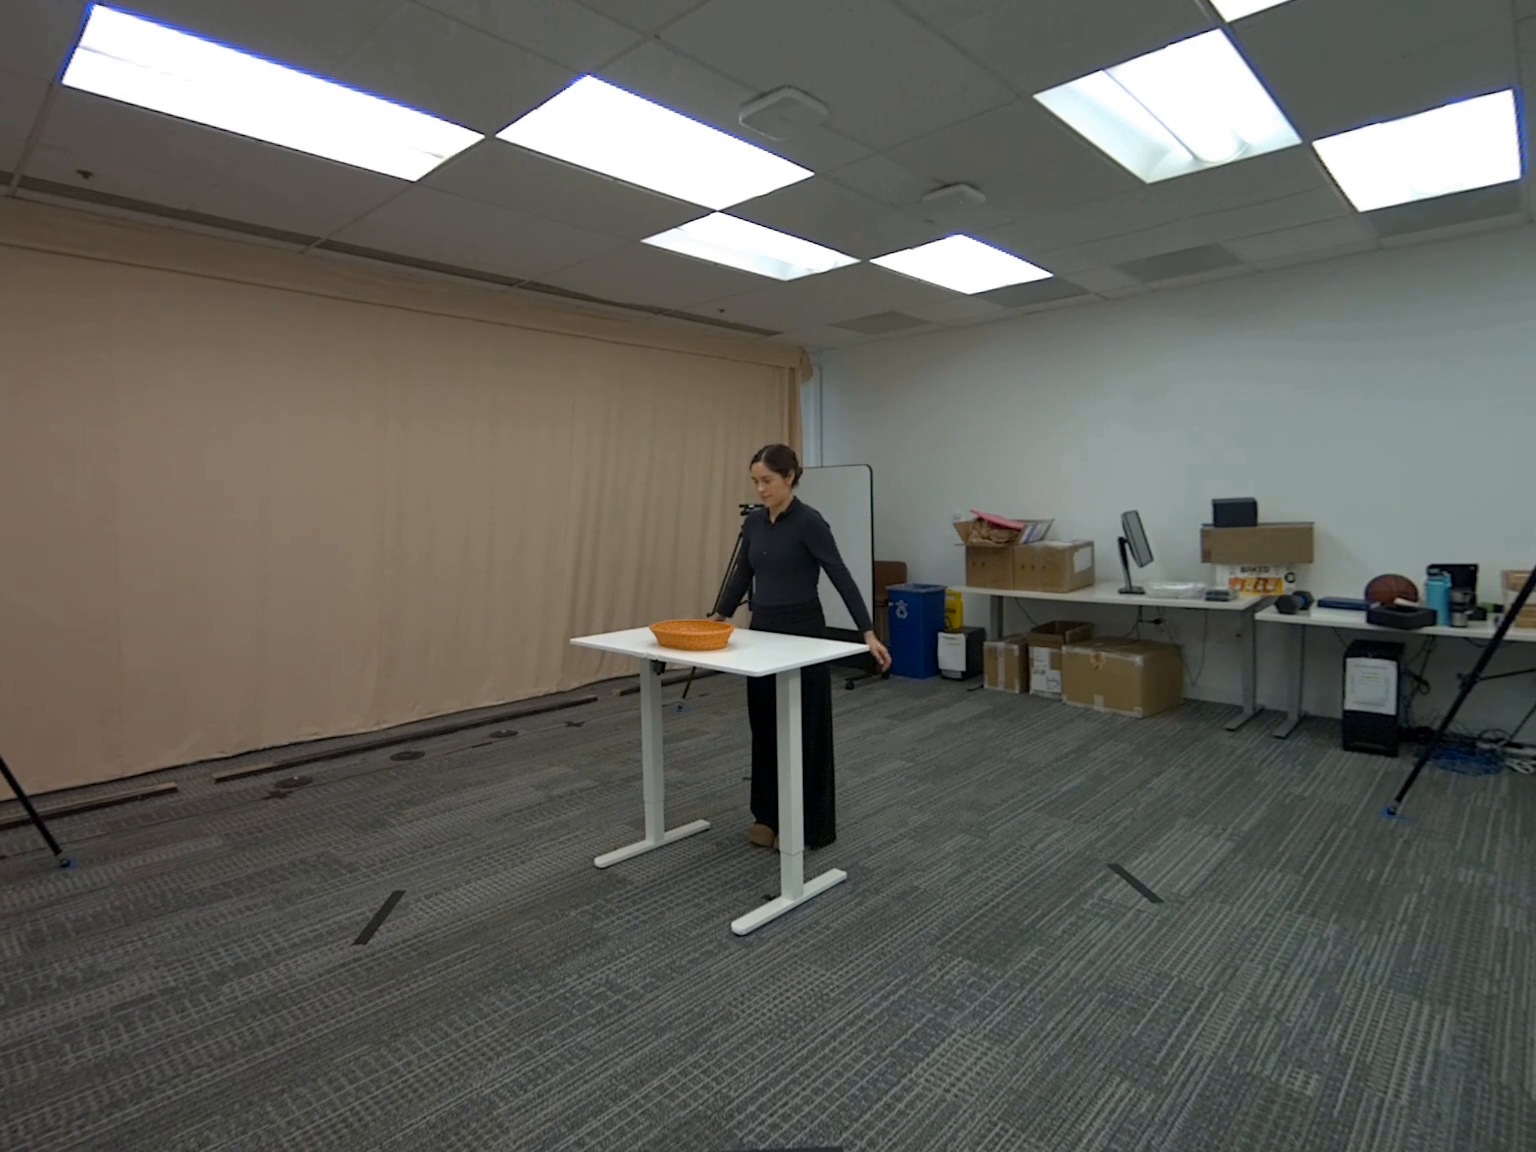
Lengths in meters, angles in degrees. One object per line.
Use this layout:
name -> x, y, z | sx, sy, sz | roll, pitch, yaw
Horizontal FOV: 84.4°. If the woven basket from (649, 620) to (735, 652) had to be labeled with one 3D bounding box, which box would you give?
woven basket -> -0.281, 0.225, 3.091 | 0.245, 0.073, 0.362 | -8, 8, -44
